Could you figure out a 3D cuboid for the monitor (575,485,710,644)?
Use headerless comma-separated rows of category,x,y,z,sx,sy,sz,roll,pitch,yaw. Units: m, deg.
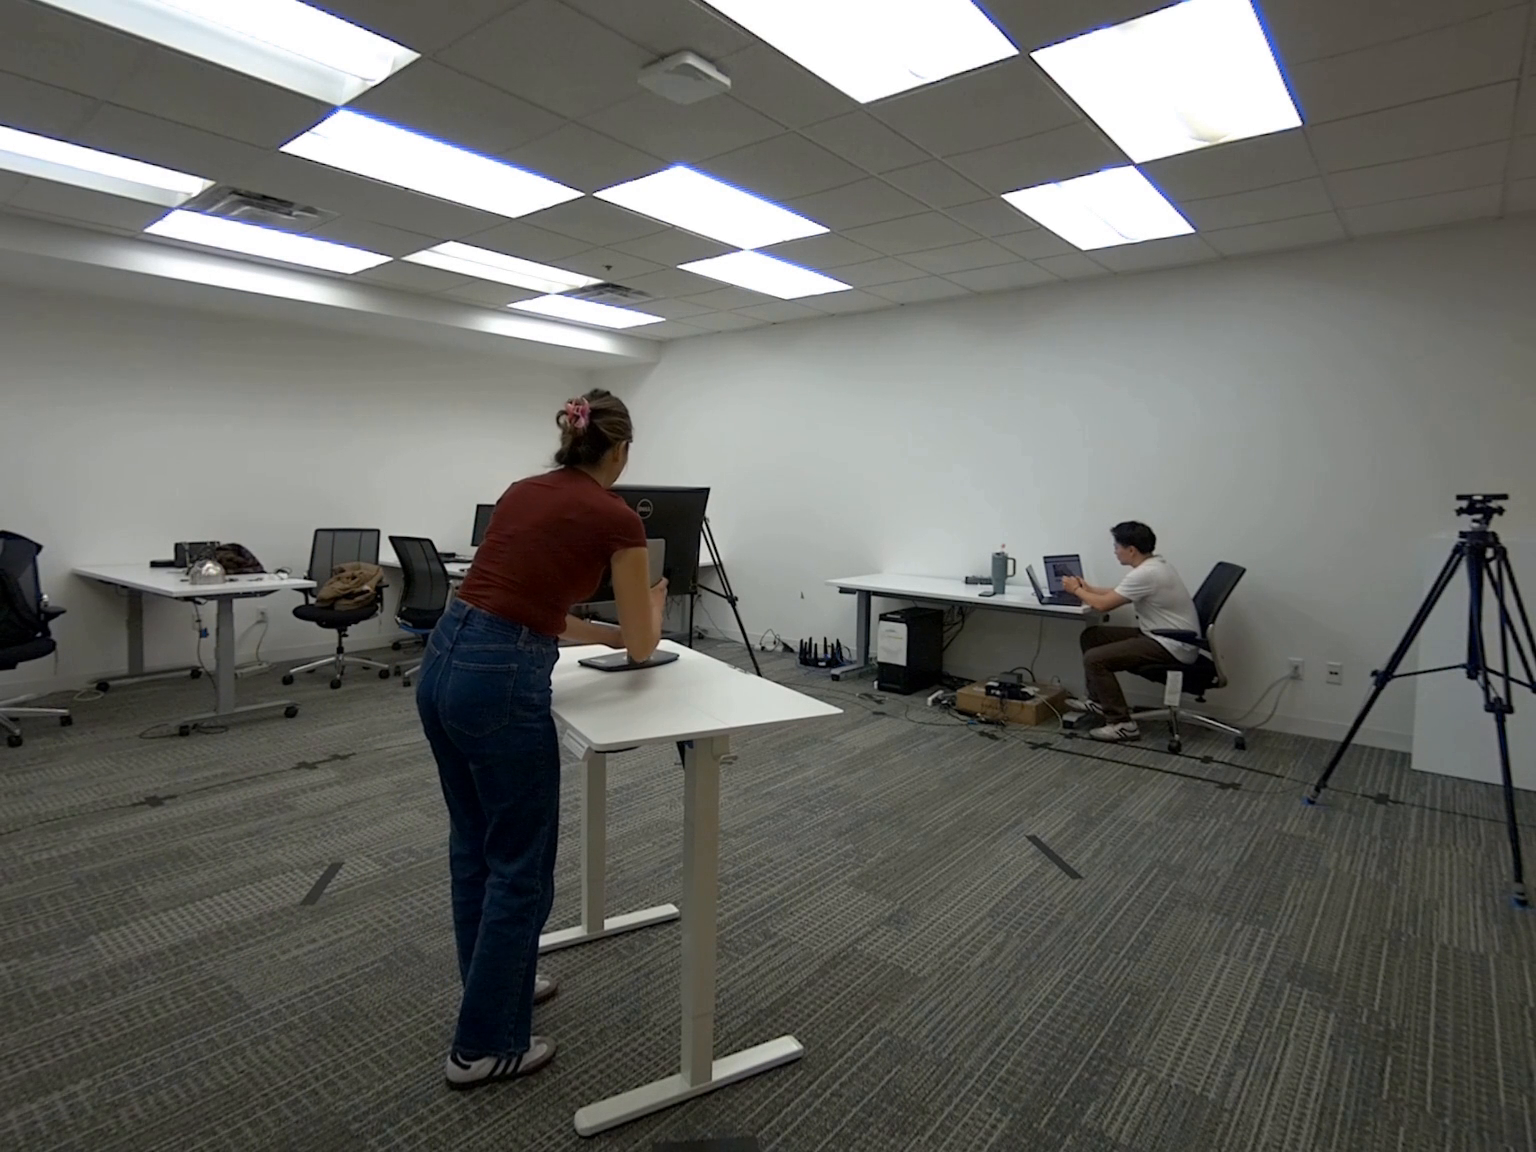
monitor,-0.388,-0.002,2.445,0.194,0.520,0.523,8,8,41
